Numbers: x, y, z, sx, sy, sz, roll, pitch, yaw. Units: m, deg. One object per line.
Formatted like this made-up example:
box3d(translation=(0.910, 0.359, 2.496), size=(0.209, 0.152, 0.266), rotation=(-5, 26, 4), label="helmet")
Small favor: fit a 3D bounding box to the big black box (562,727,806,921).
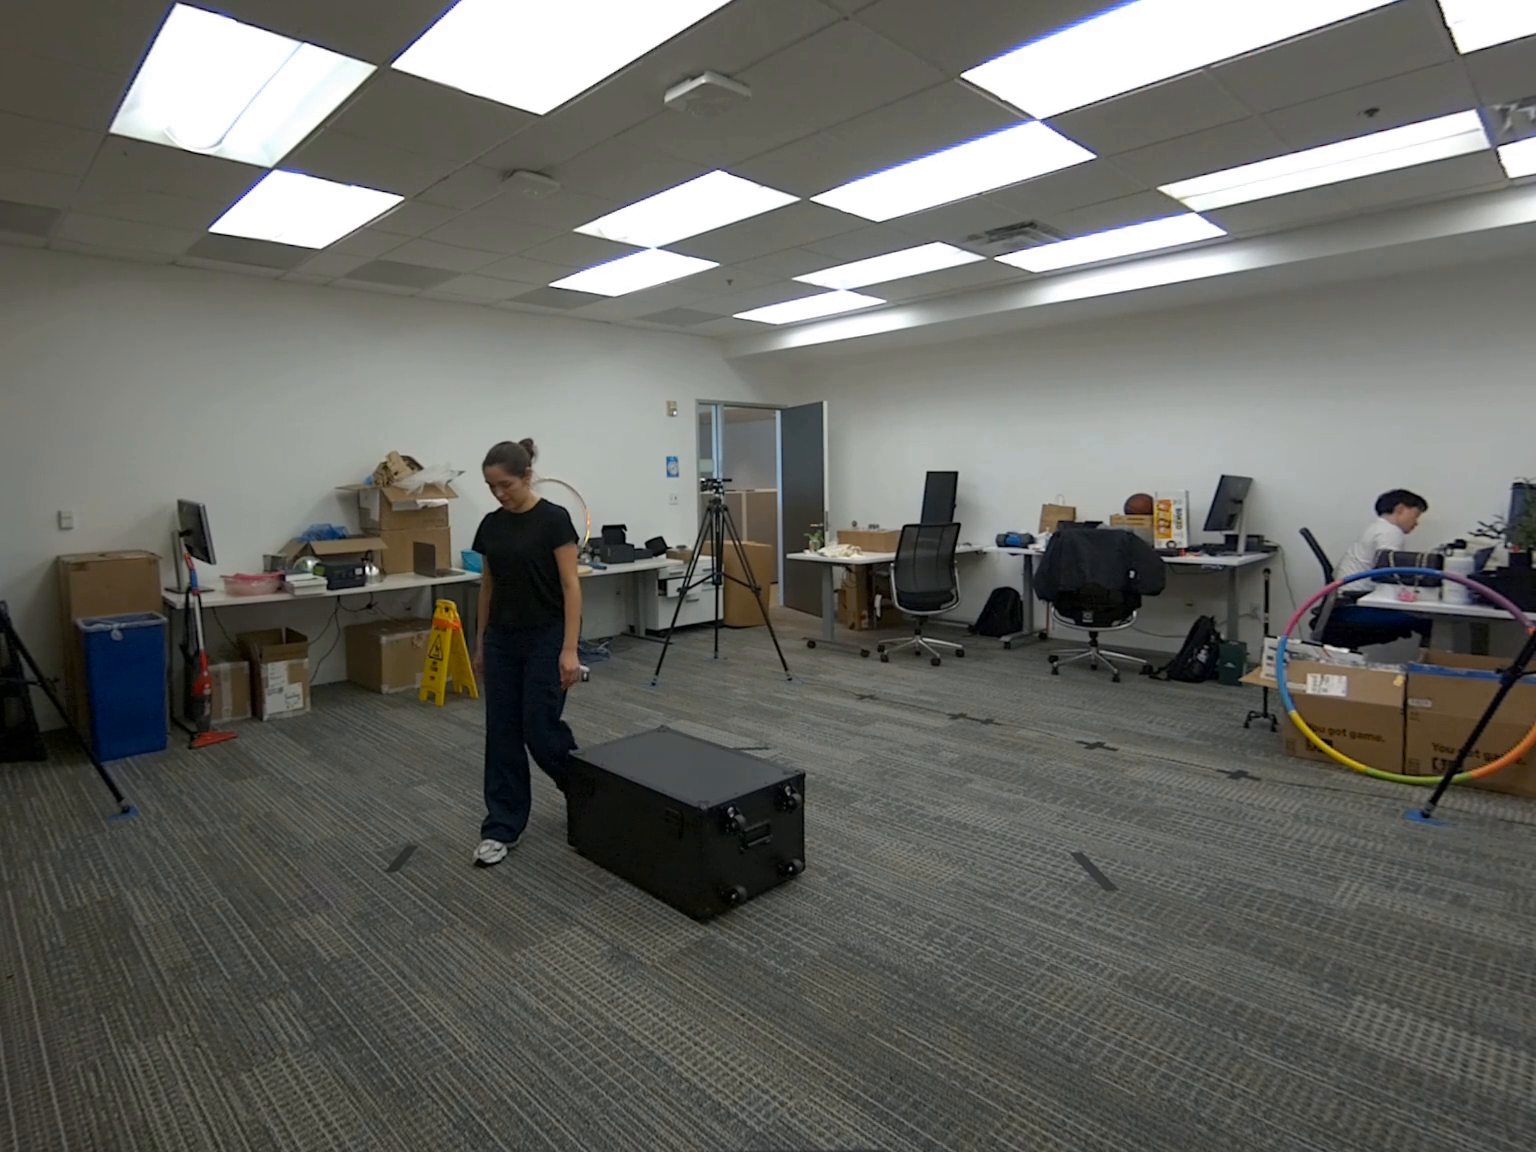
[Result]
box3d(translation=(-0.294, 0.860, 3.091), size=(0.508, 0.394, 0.888), rotation=(-7, 8, -44), label="big black box")
